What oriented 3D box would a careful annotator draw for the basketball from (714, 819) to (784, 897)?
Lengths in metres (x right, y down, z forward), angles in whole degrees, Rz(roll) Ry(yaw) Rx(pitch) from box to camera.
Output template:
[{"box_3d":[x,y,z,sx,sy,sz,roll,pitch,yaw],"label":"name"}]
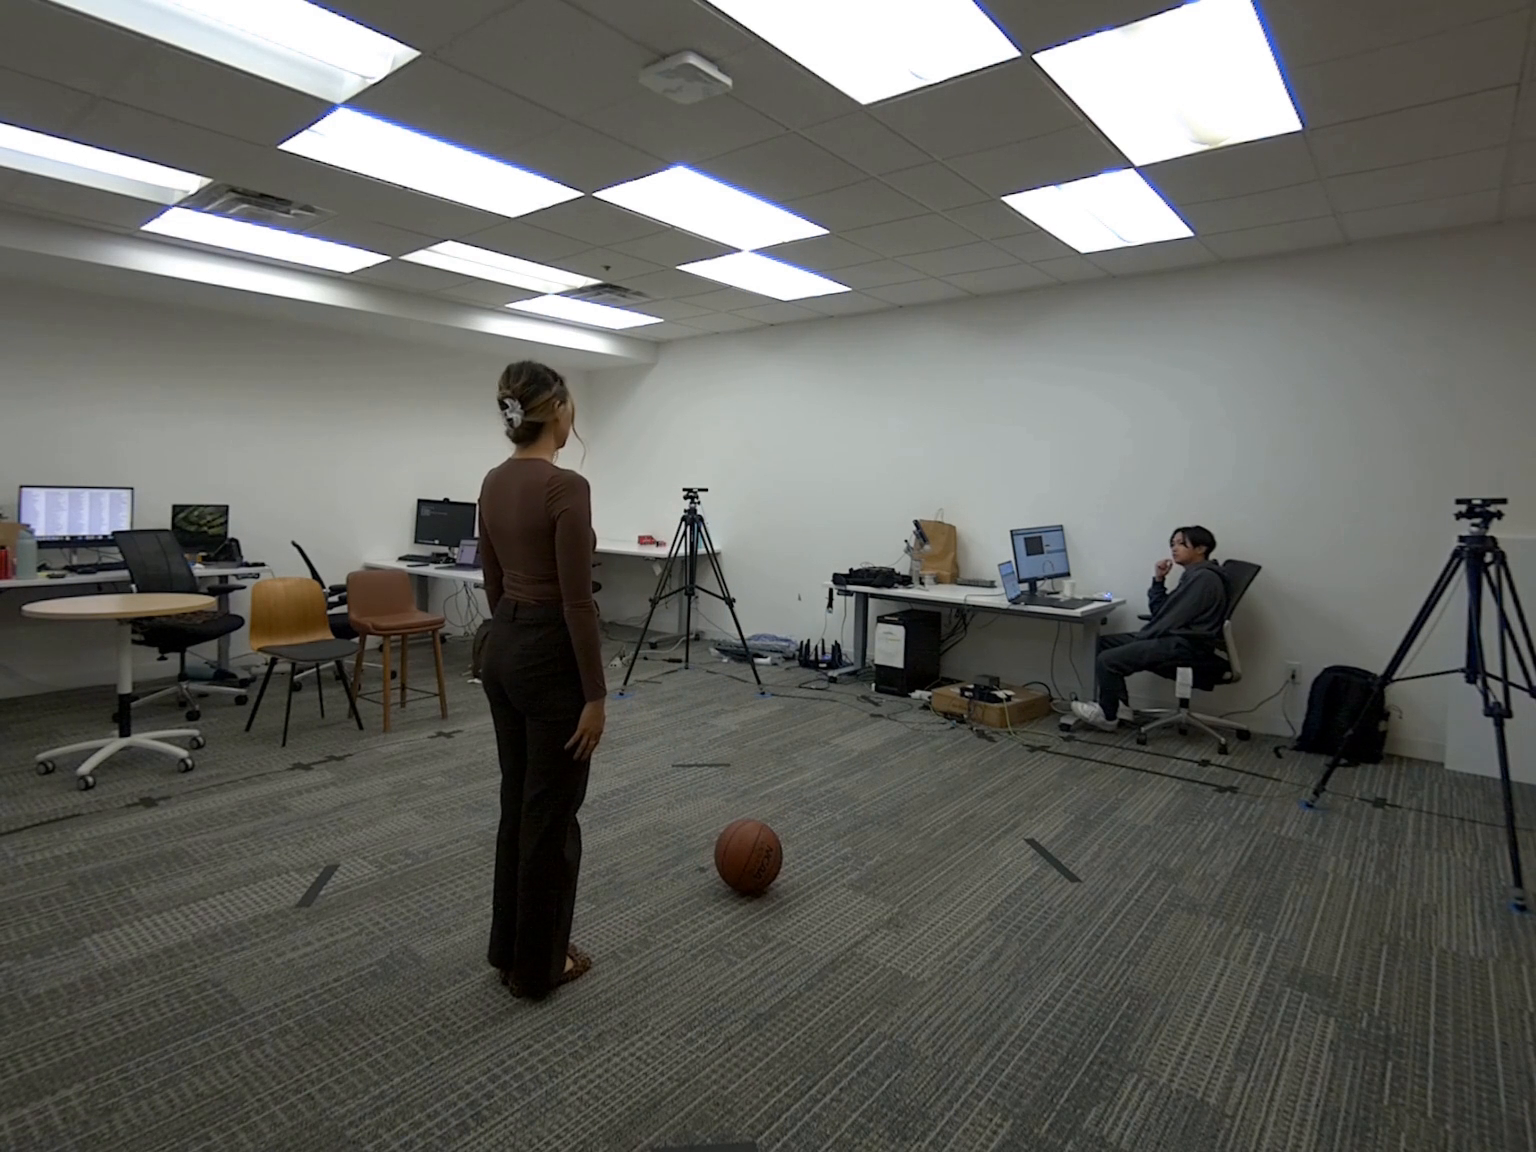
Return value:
[{"box_3d":[-0.073,0.964,2.957,0.235,0.235,0.237,1,4,-2],"label":"basketball"}]
